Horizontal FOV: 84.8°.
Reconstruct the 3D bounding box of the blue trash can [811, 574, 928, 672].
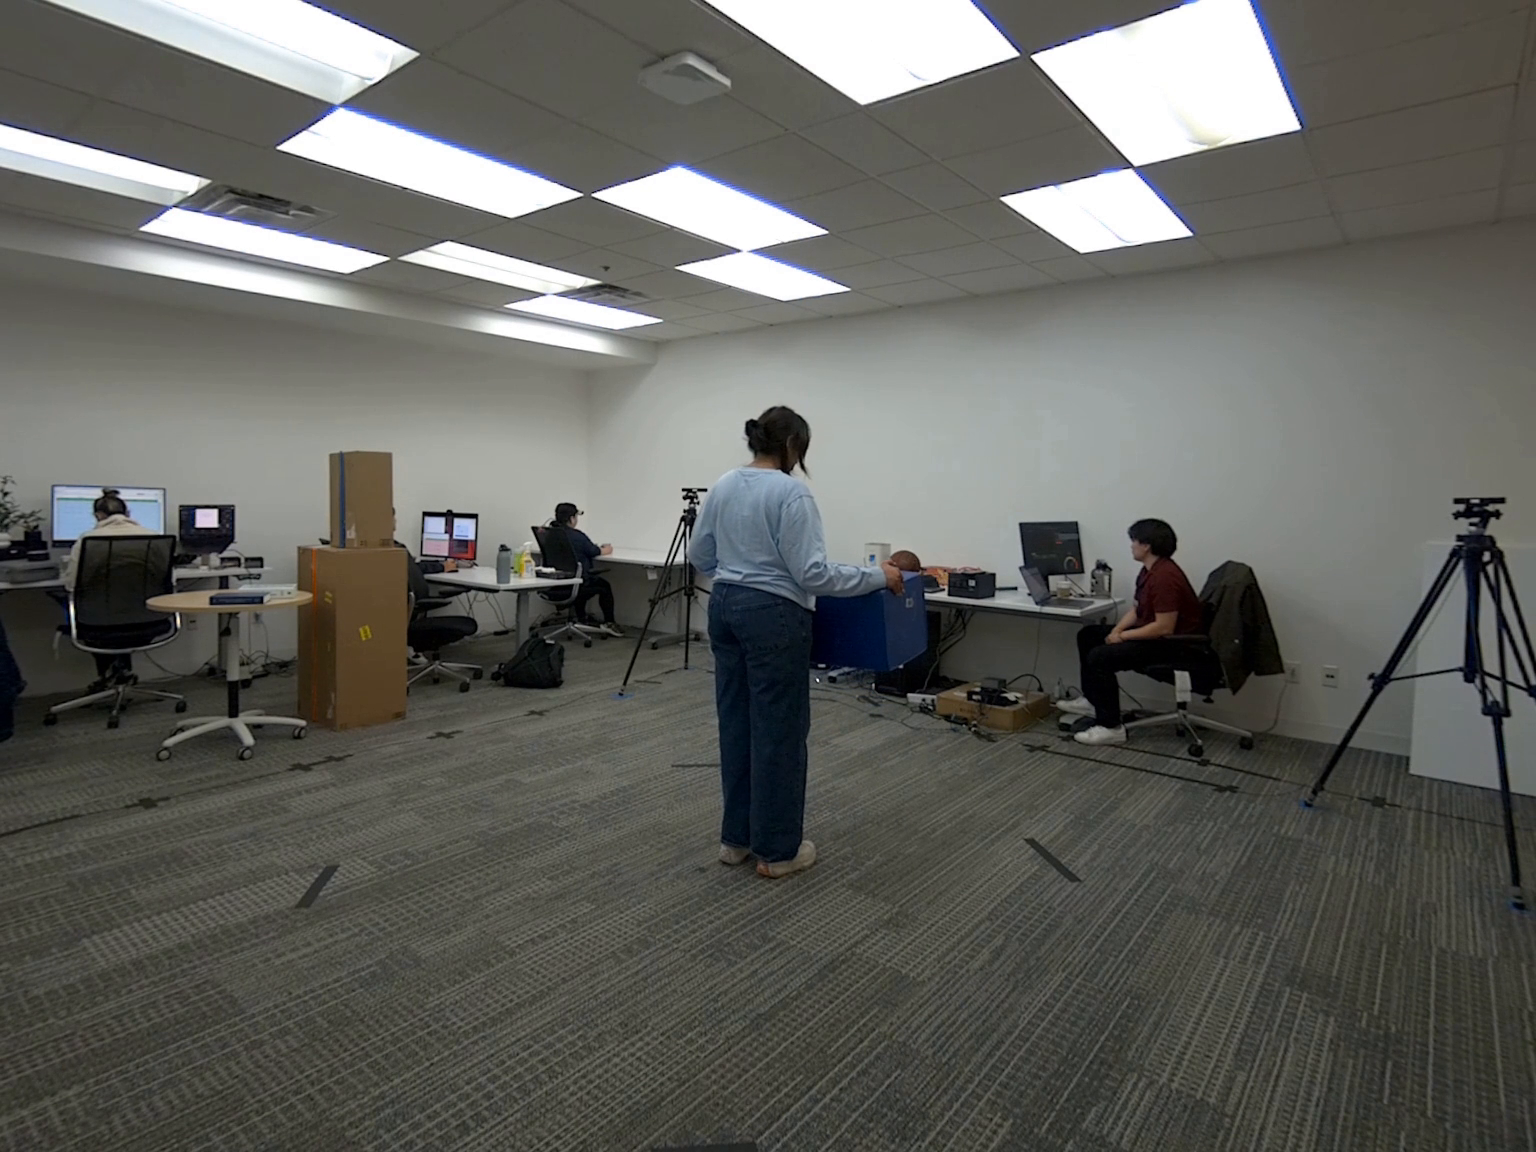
[{"bbox_3d":[0.223,0.133,3.354,0.737,0.370,0.370,4,13,39],"label":"blue trash can"}]
